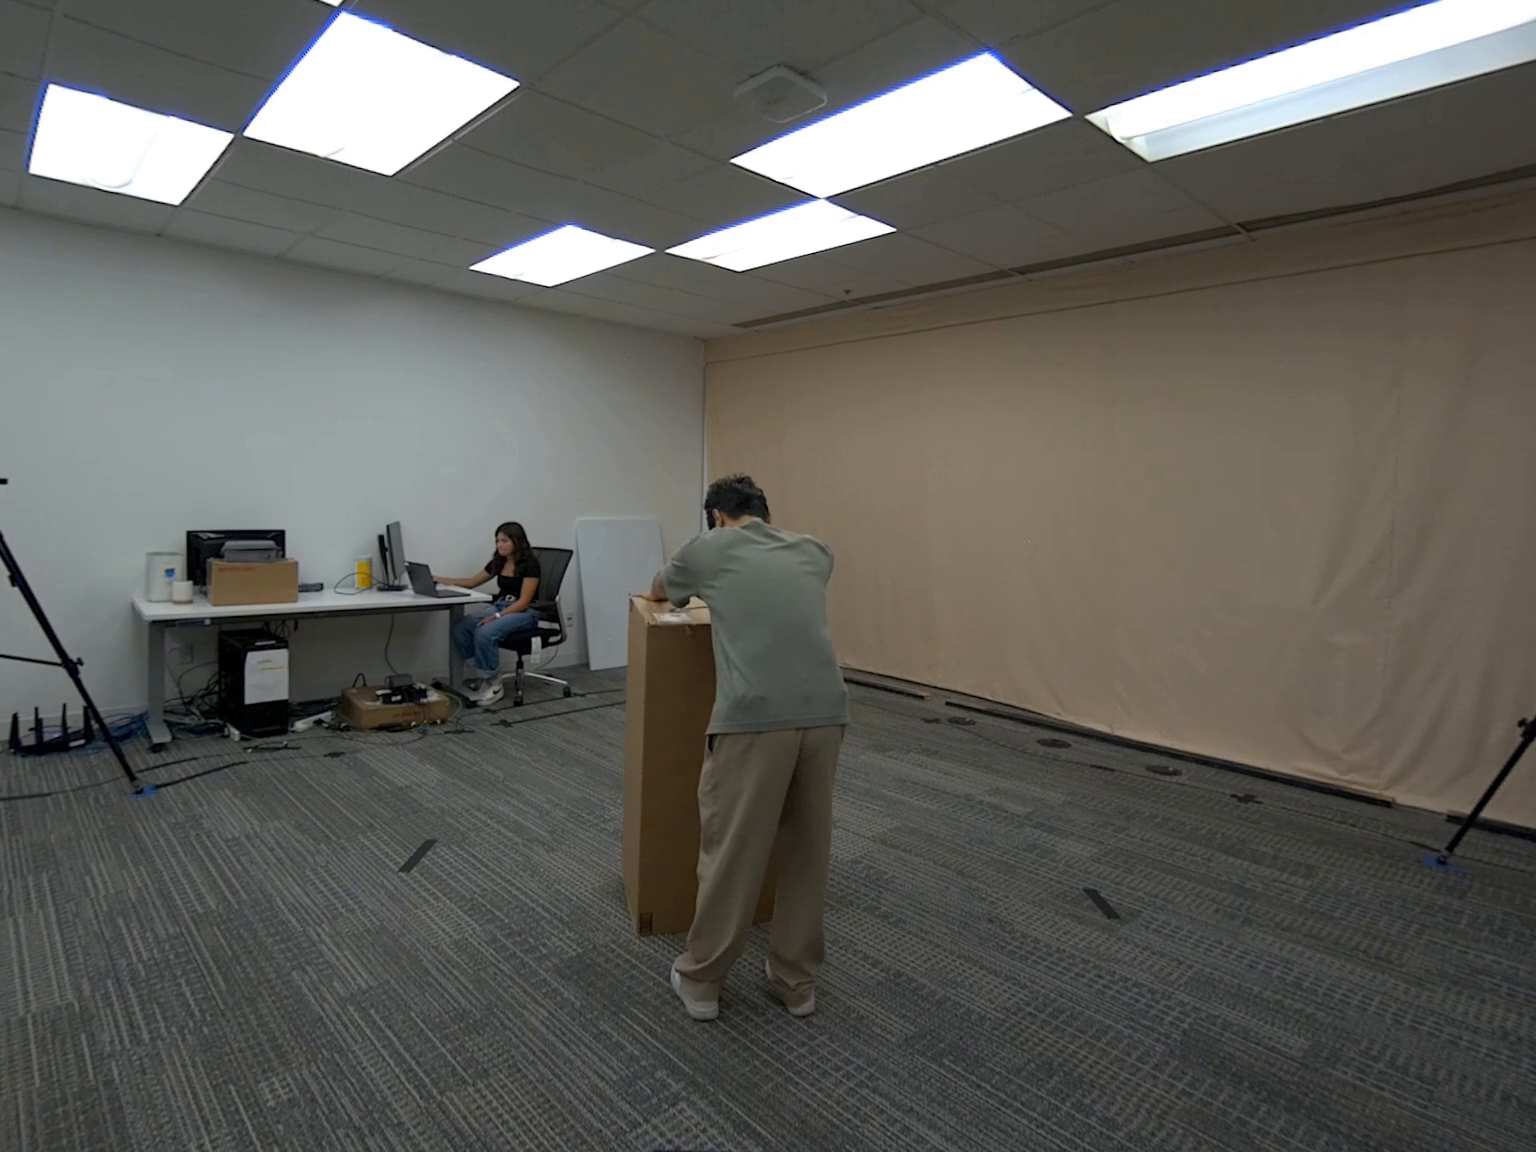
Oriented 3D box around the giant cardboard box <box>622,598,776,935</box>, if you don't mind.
[{"bbox_3d":[-0.179,0.602,2.857,0.571,1.019,0.434,0,9,-16],"label":"giant cardboard box"}]
